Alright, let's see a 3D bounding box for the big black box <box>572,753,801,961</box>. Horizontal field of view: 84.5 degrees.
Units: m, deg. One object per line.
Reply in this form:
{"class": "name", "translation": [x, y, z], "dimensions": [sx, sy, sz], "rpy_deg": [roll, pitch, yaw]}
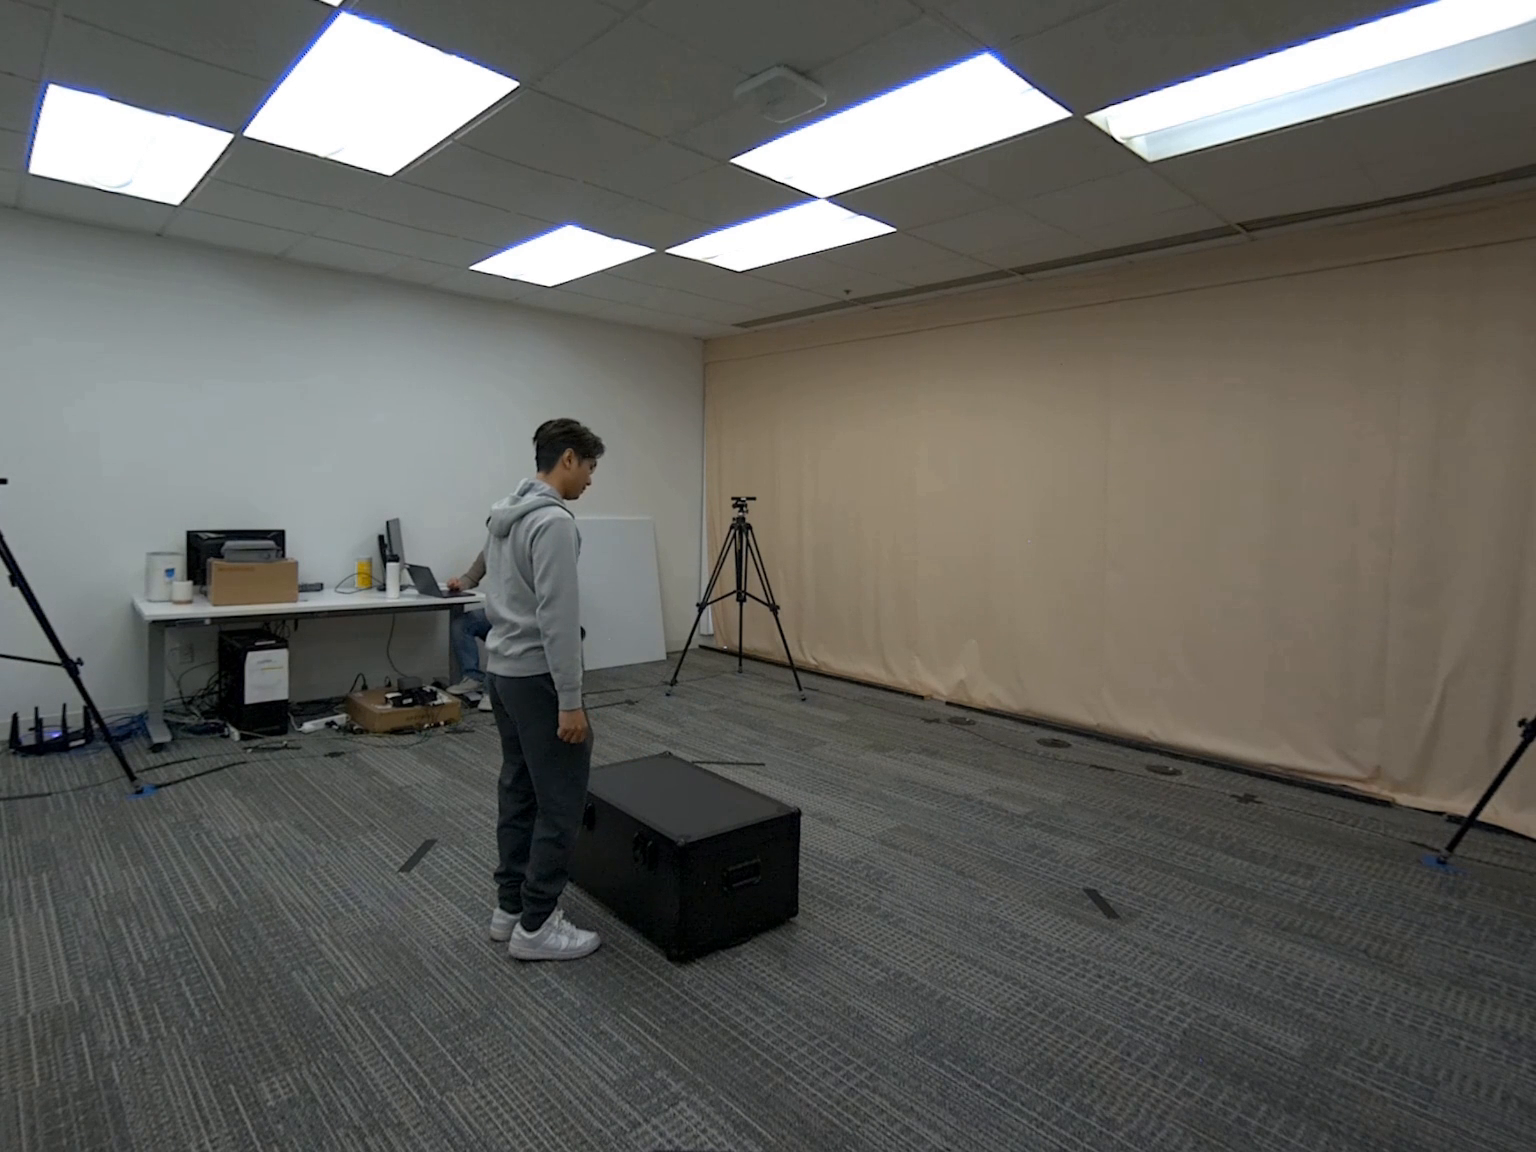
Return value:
{"class": "big black box", "translation": [-0.354, 0.928, 2.942], "dimensions": [0.509, 0.395, 0.884], "rpy_deg": [-3, 7, -40]}
